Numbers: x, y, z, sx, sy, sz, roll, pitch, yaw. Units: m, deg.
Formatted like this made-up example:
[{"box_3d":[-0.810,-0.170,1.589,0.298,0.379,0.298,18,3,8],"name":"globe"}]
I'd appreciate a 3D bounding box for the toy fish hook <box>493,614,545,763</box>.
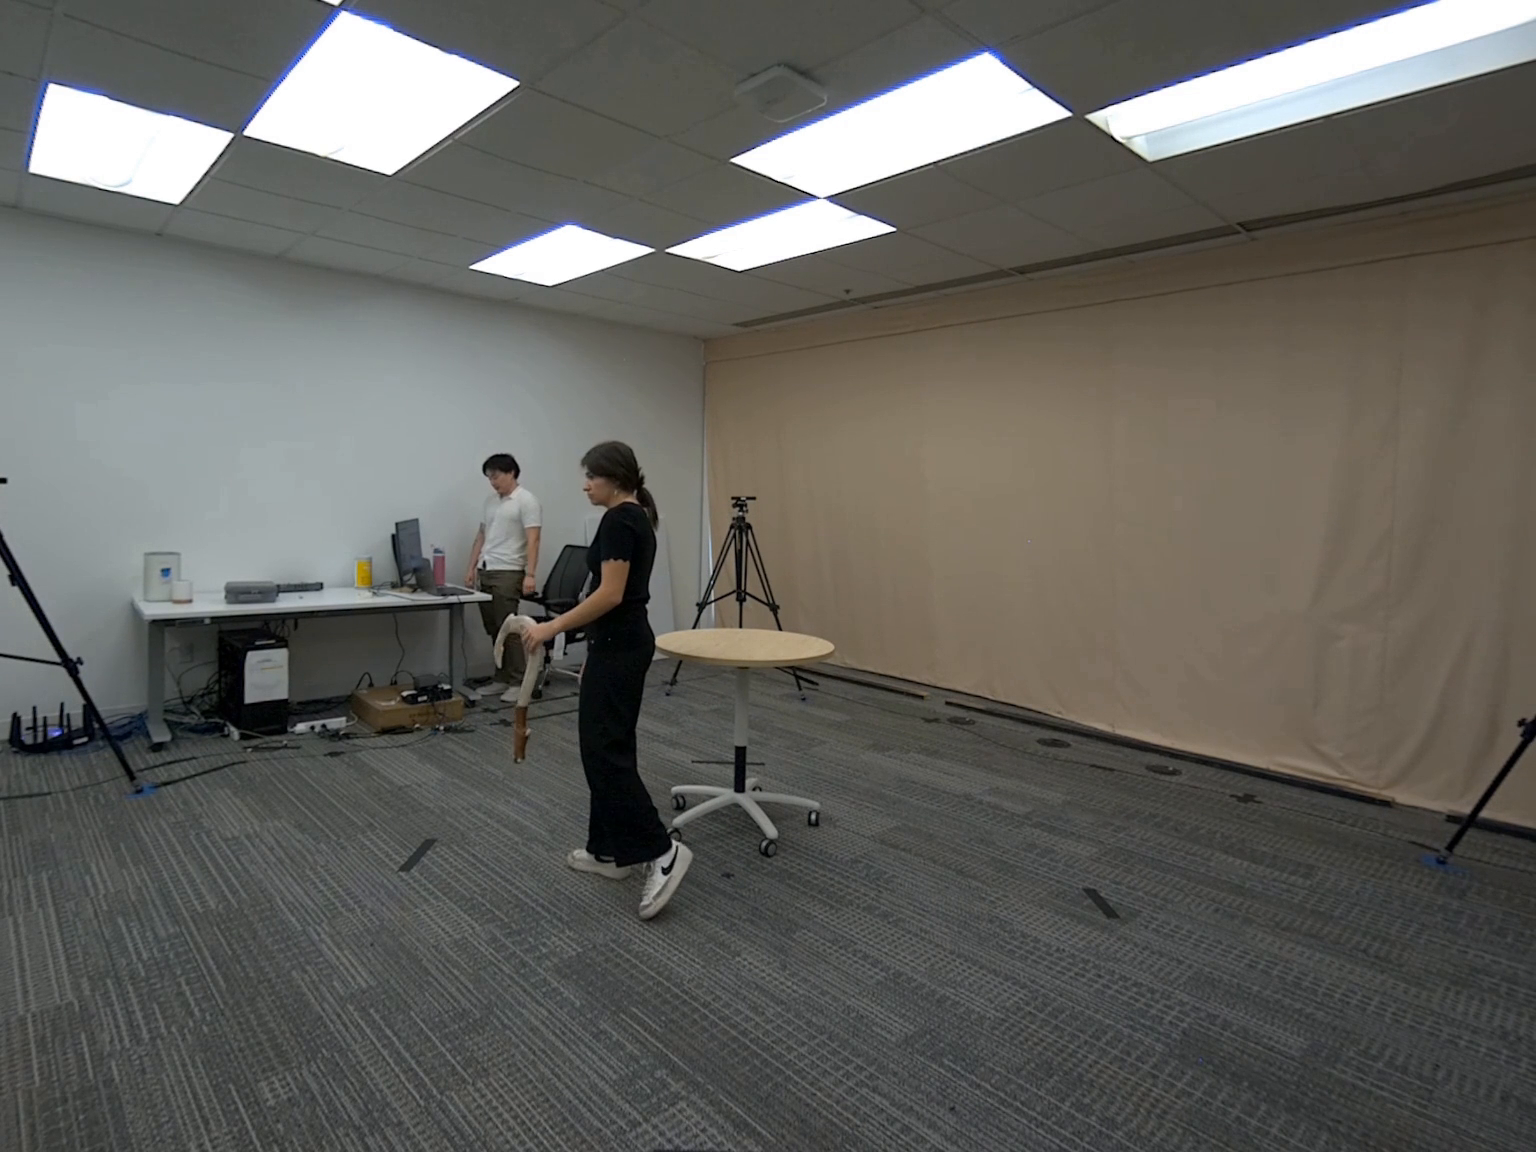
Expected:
[{"box_3d":[-0.874,0.398,2.943,0.230,0.507,0.047,4,-1,37],"name":"toy fish hook"}]
